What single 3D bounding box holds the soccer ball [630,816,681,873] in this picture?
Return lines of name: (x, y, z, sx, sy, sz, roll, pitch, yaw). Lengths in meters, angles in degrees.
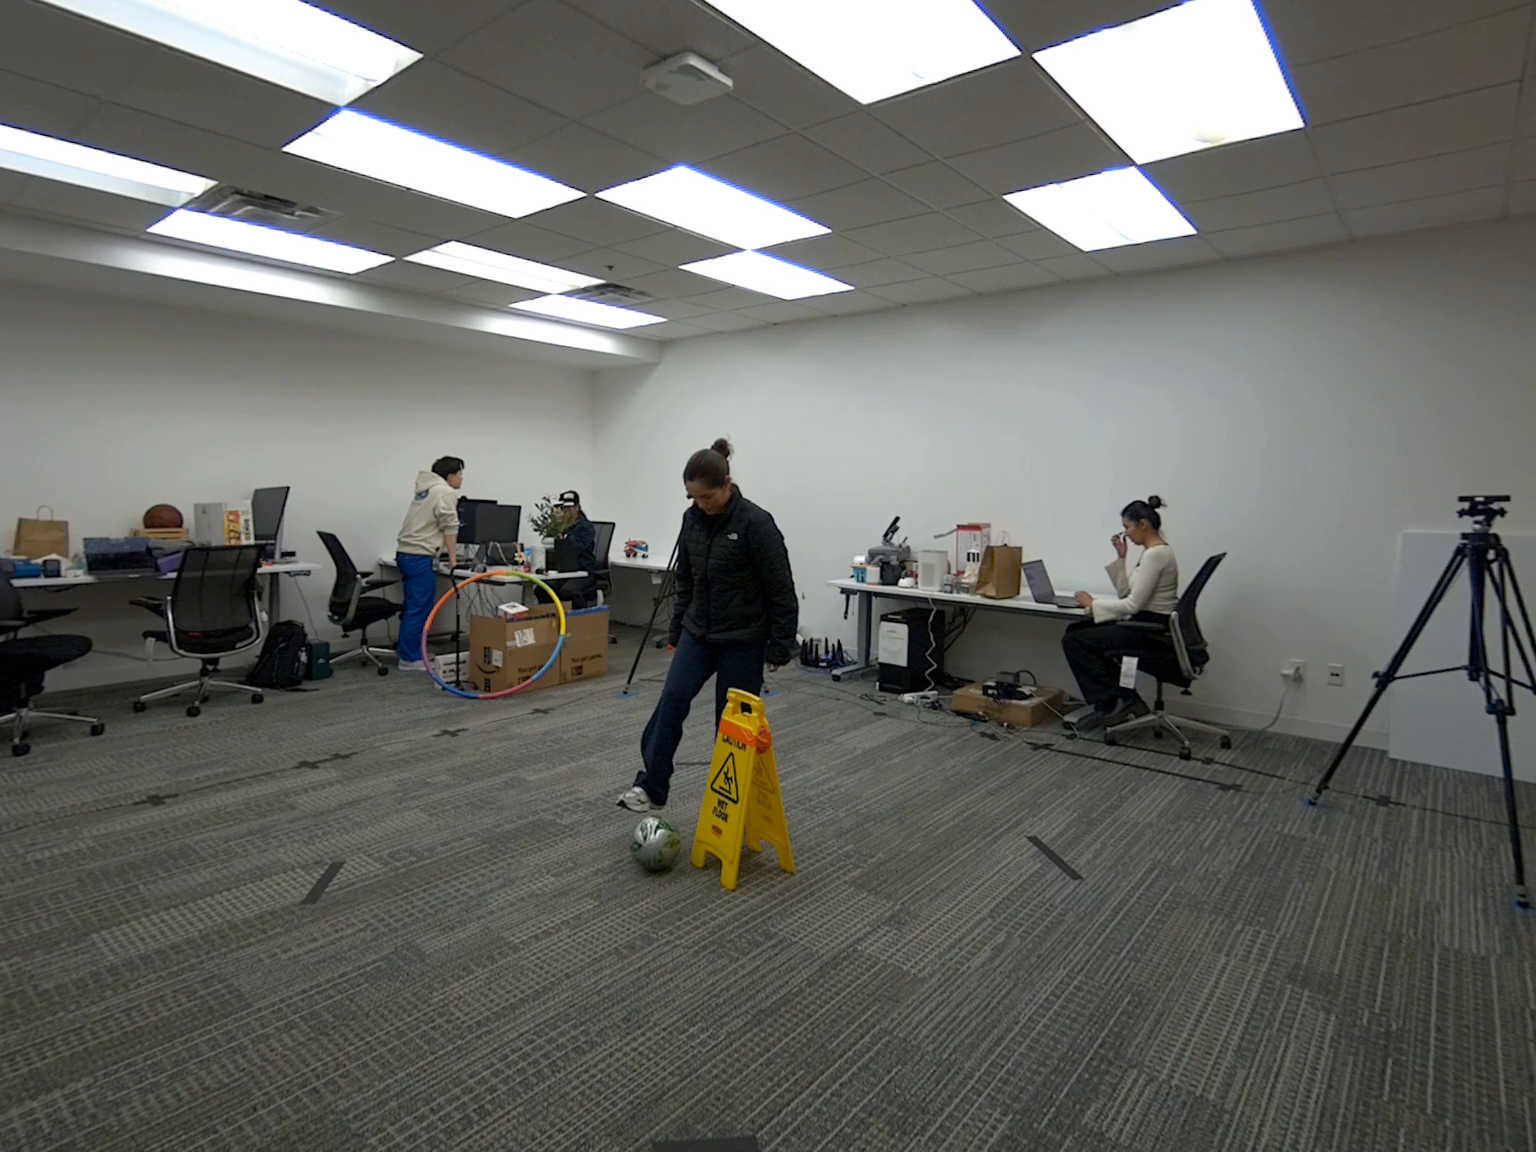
soccer ball: (-0.422, 0.968, 3.111, 0.187, 0.187, 0.188, 1, 4, -2)
